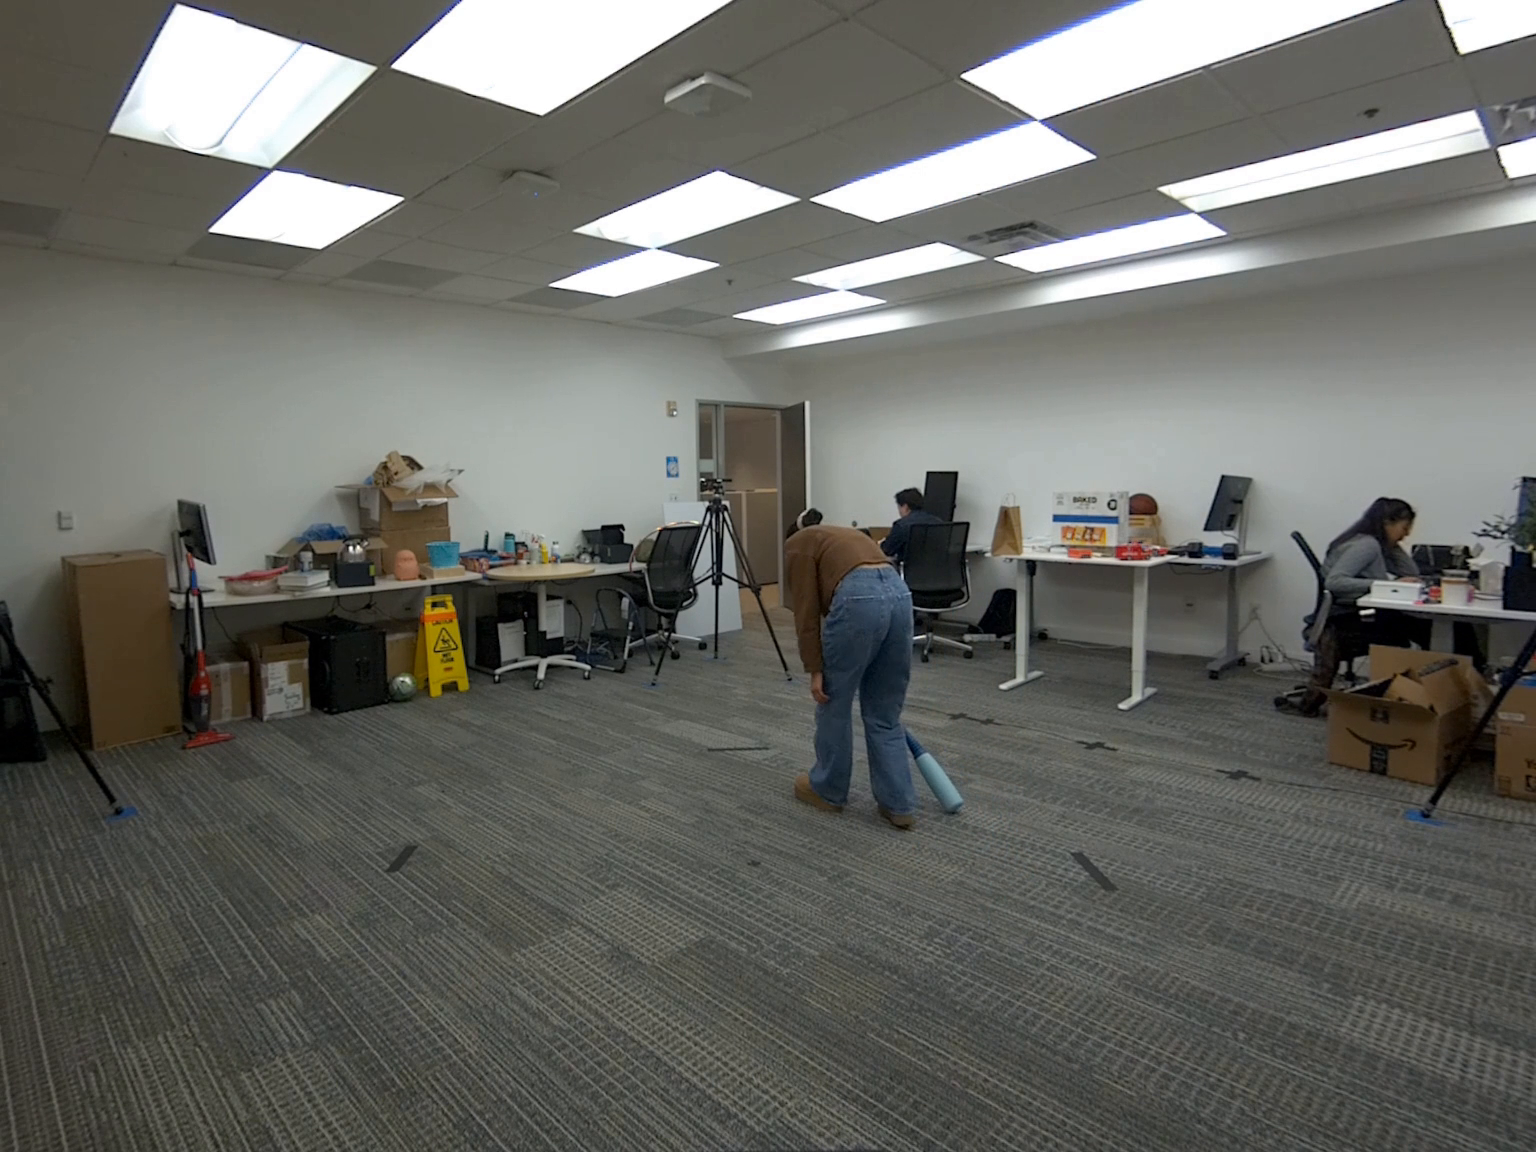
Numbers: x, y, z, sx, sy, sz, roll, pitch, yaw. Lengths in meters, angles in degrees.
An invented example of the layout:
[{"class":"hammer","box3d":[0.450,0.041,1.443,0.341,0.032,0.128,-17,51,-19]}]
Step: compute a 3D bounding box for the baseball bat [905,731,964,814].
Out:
[{"class":"baseball bat","box3d":[0.646,0.761,3.671,0.087,0.088,0.563,-4,47,-36]}]
